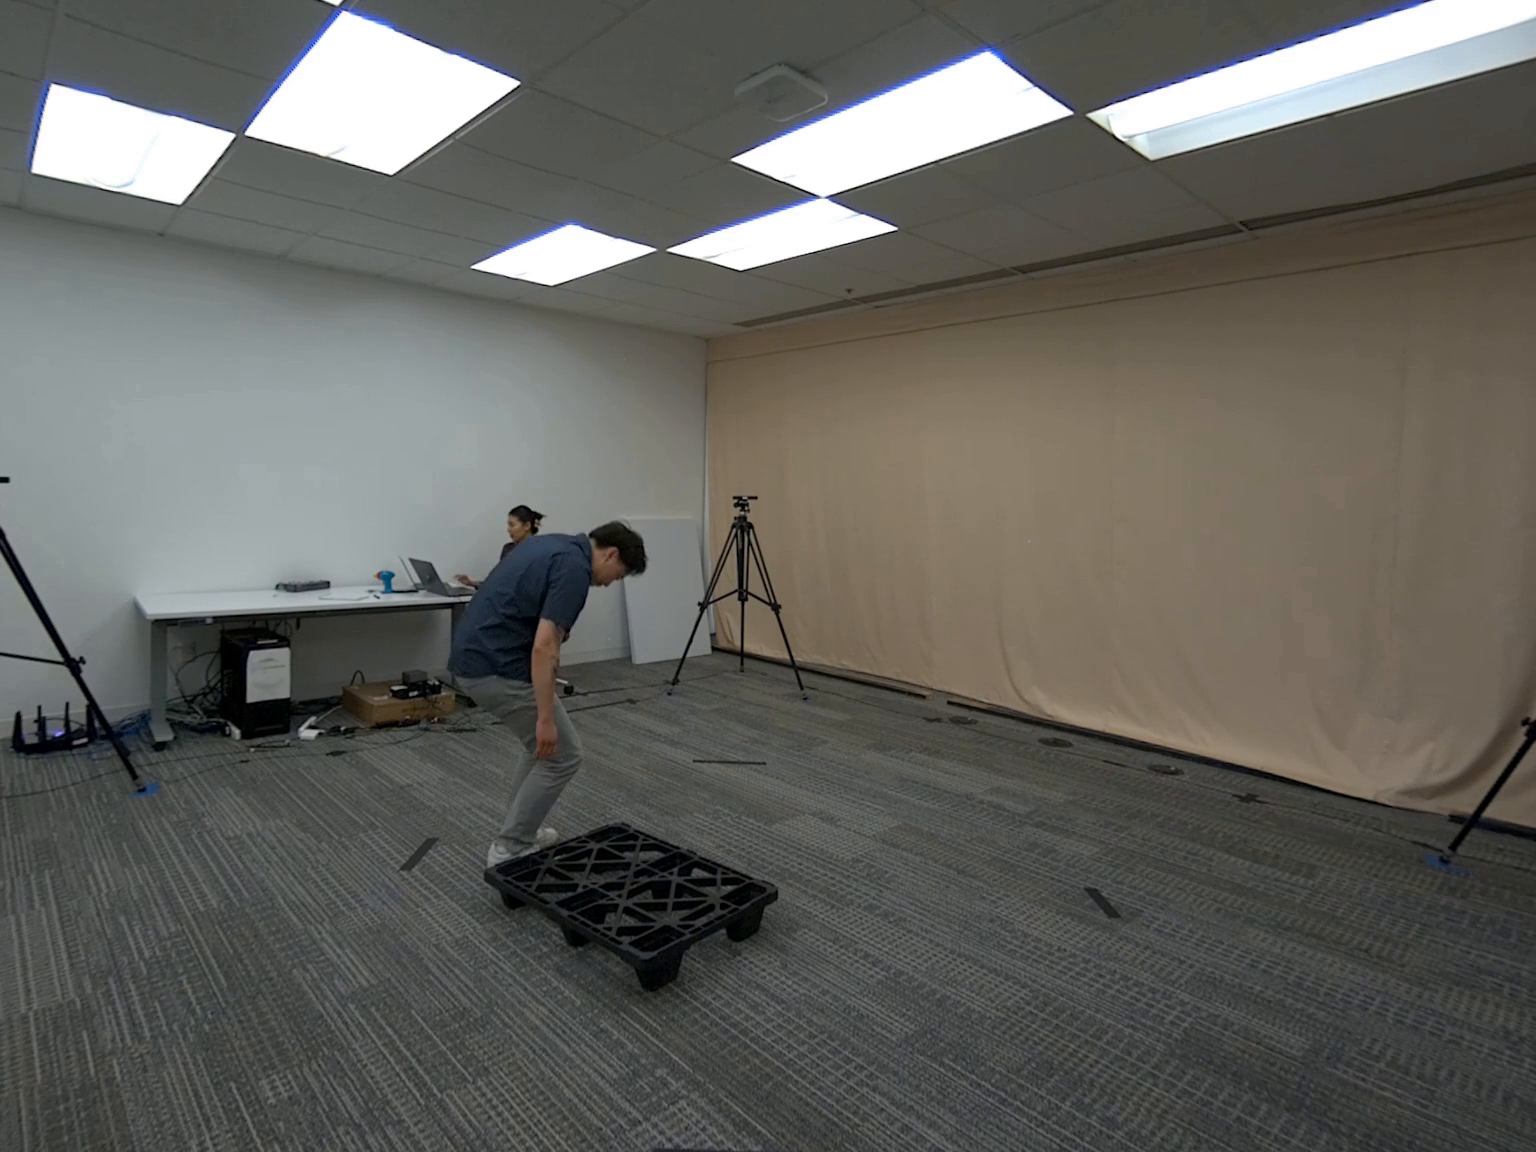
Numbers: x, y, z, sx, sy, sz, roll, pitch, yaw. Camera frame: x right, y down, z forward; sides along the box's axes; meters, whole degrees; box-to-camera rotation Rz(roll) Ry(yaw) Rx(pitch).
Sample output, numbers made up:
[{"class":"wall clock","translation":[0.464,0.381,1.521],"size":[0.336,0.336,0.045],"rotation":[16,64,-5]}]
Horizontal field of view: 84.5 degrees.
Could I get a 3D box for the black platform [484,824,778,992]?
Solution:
[{"class":"black platform","translation":[-0.459,1.062,2.758],"size":[0.826,0.143,0.592],"rotation":[6,8,40]}]
